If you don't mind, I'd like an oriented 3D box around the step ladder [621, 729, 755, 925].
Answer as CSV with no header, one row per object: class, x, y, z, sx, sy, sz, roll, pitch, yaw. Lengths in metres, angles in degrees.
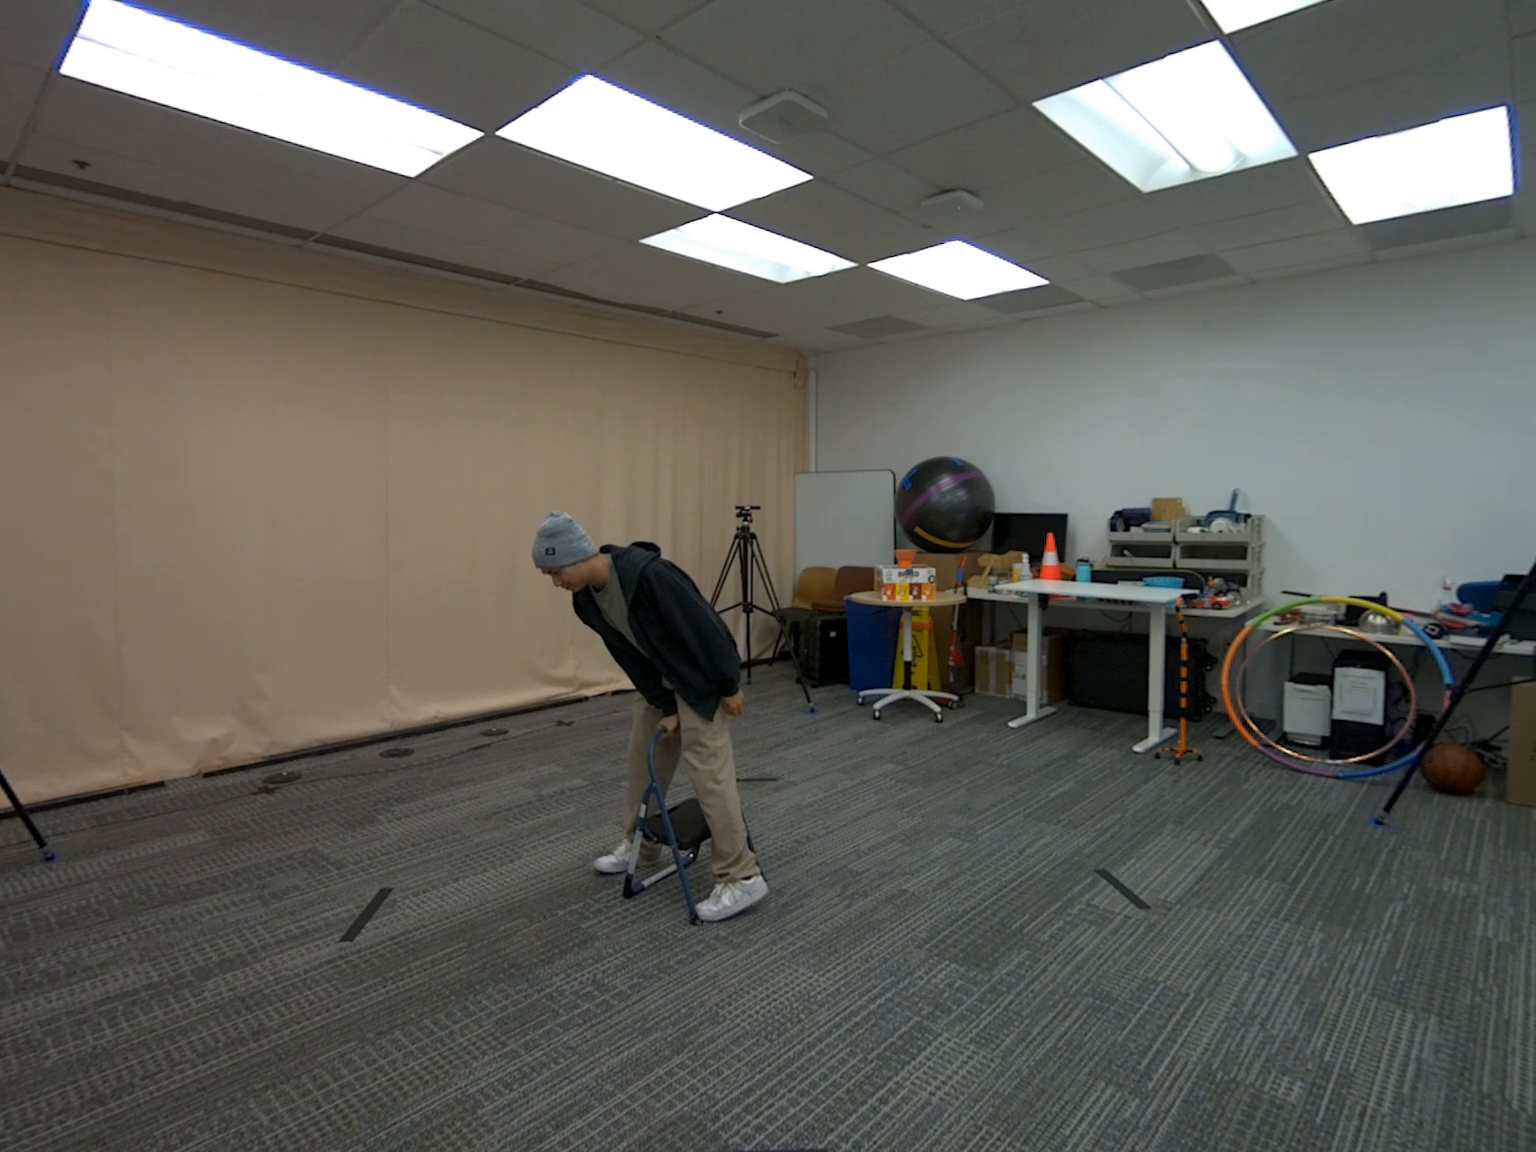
step ladder,-0.268,0.839,3.048,0.360,0.605,0.419,1,4,33
